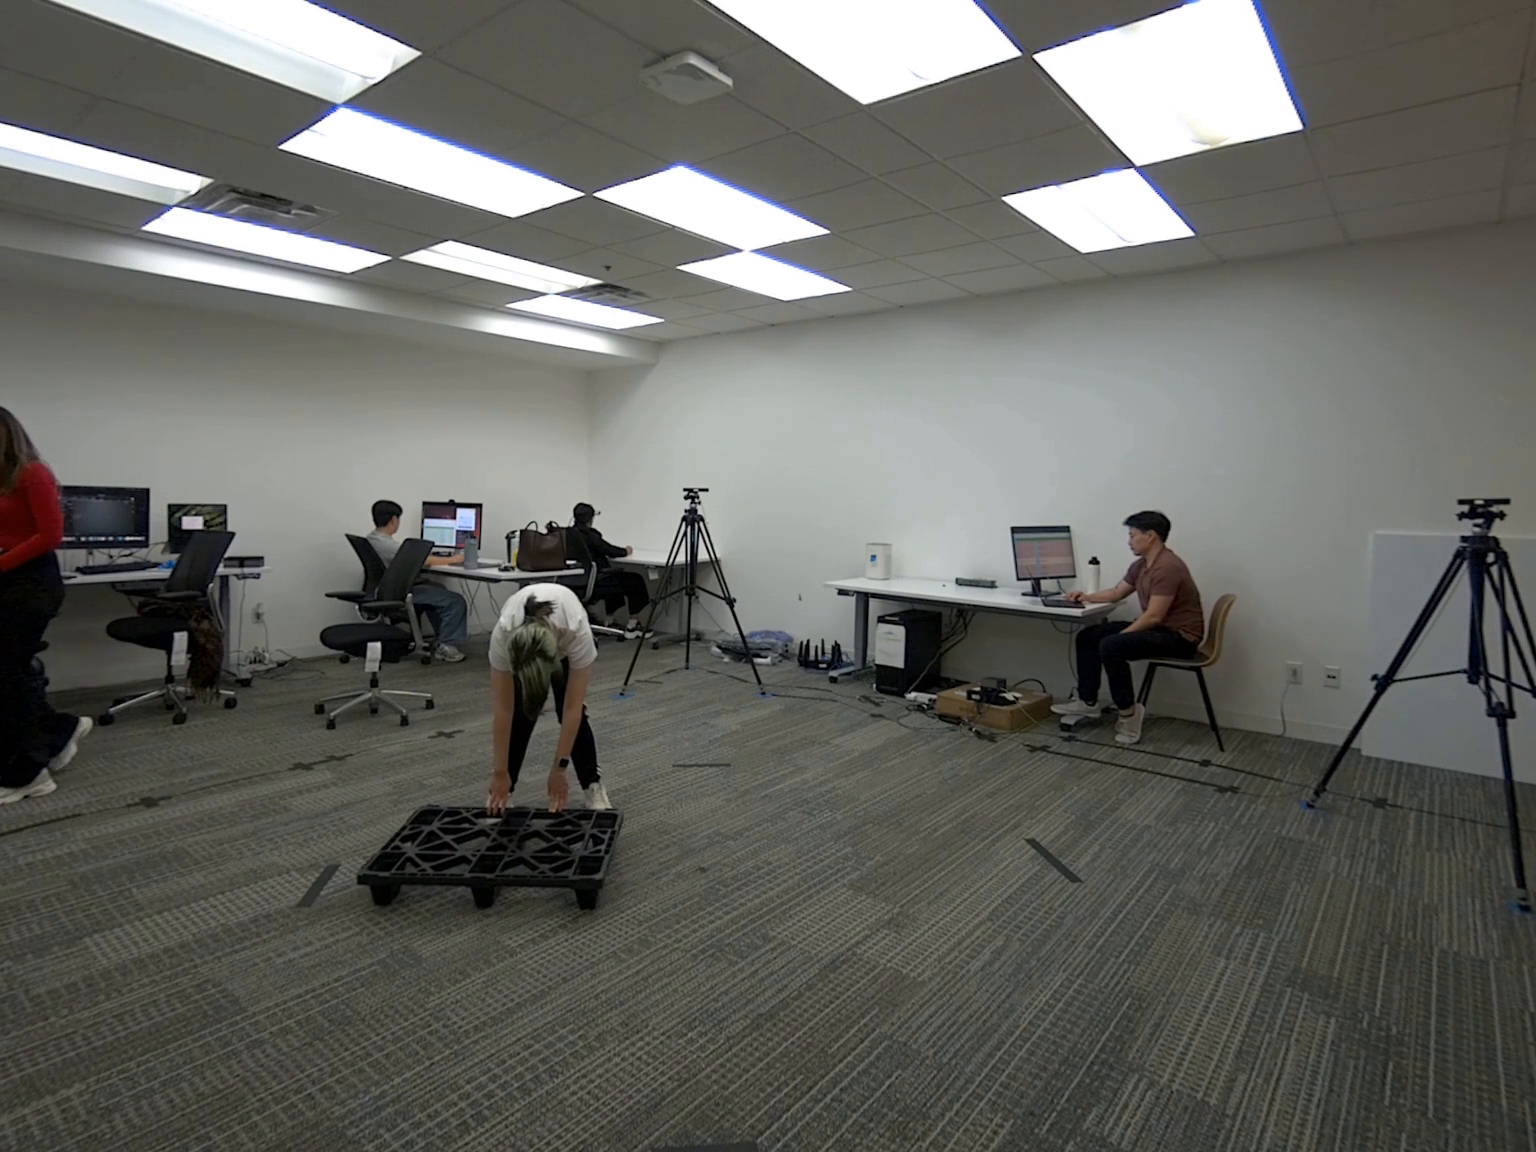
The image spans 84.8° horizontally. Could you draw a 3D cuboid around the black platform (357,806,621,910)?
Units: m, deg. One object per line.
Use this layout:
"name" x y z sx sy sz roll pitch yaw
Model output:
"black platform" -0.963 0.995 3.031 0.805 0.143 0.608 1 5 -1
